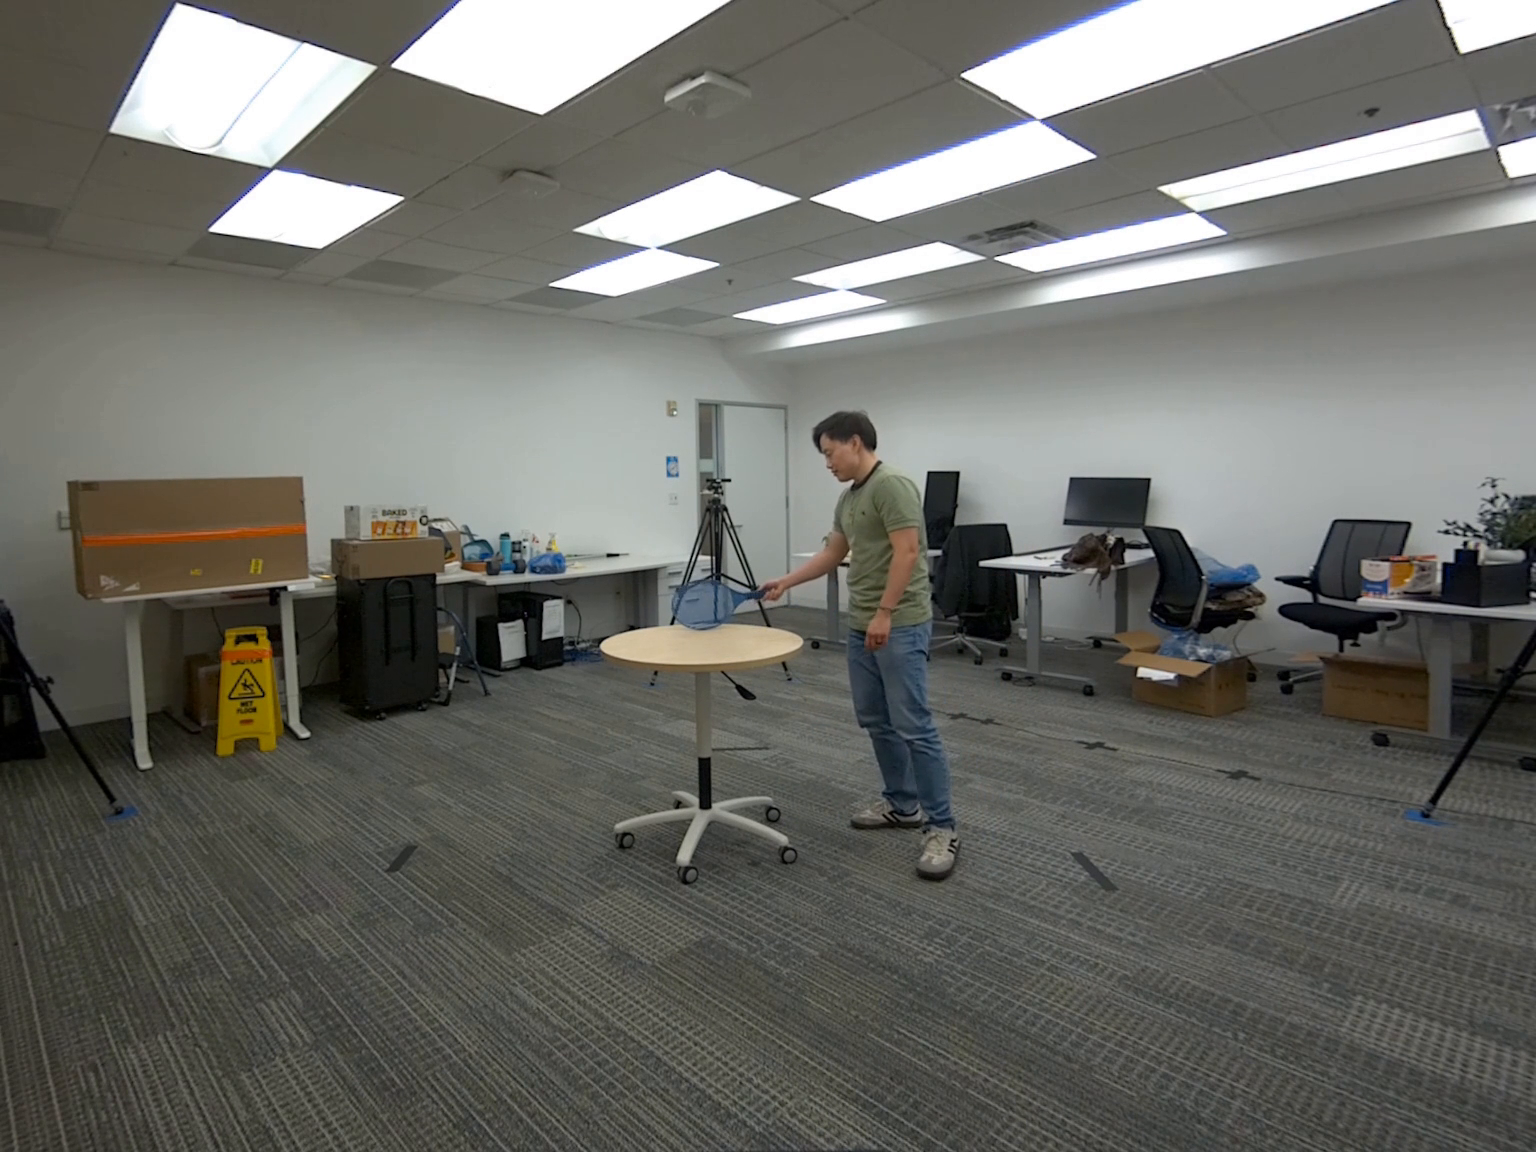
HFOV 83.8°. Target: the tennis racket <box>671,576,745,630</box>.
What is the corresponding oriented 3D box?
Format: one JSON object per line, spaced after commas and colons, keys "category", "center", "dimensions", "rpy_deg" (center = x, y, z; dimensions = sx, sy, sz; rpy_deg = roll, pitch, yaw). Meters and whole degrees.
{"category": "tennis racket", "center": [-0.174, 0.103, 3.532], "dimensions": [0.428, 0.219, 0.031], "rpy_deg": [-13, -22, -13]}
